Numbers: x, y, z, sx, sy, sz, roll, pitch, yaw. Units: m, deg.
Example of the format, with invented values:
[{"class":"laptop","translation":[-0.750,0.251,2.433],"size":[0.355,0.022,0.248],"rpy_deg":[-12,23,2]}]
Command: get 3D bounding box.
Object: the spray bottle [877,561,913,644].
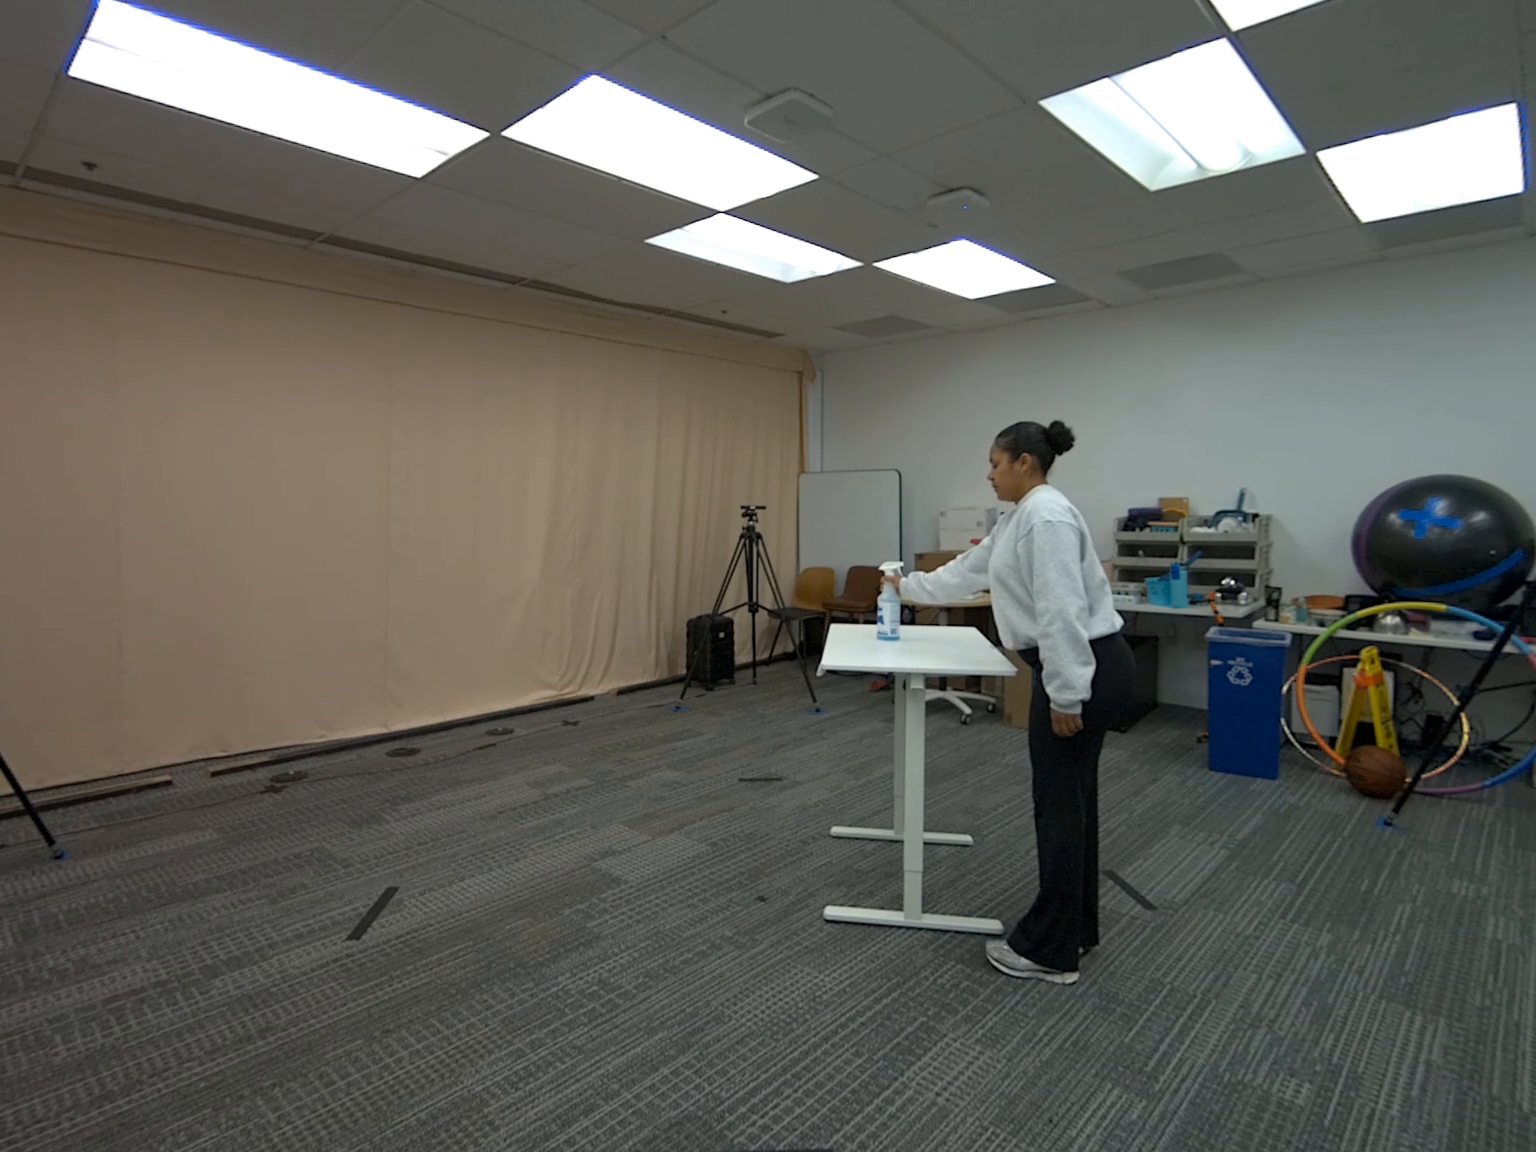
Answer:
[{"class":"spray bottle","translation":[0.477,0.095,3.203],"size":[0.084,0.297,0.093],"rpy_deg":[-3,5,-44]}]
